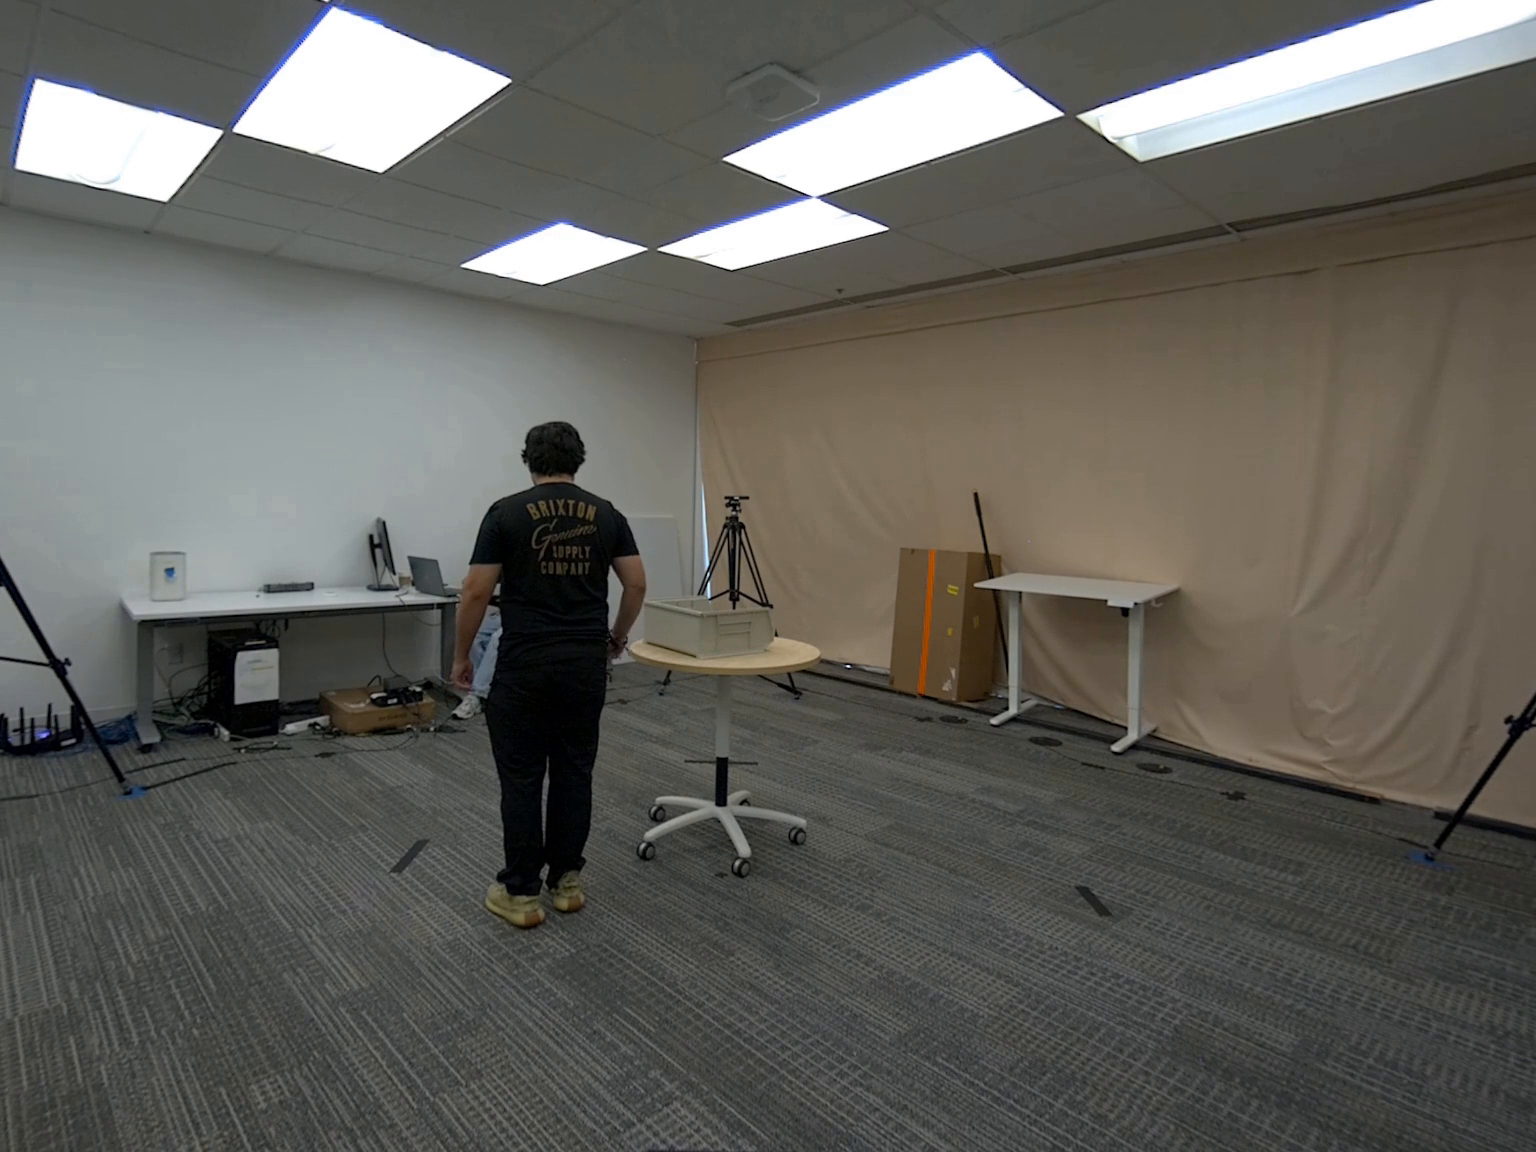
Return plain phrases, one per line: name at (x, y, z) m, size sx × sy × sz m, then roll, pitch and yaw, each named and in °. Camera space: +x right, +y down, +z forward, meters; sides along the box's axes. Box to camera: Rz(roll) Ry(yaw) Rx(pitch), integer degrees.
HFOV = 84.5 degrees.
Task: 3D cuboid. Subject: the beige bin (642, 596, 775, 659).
beige bin at (-0.251, 0.202, 3.411) m, size 0.369 × 0.188 × 0.433 m, roll -4°, pitch 8°, yaw -39°
